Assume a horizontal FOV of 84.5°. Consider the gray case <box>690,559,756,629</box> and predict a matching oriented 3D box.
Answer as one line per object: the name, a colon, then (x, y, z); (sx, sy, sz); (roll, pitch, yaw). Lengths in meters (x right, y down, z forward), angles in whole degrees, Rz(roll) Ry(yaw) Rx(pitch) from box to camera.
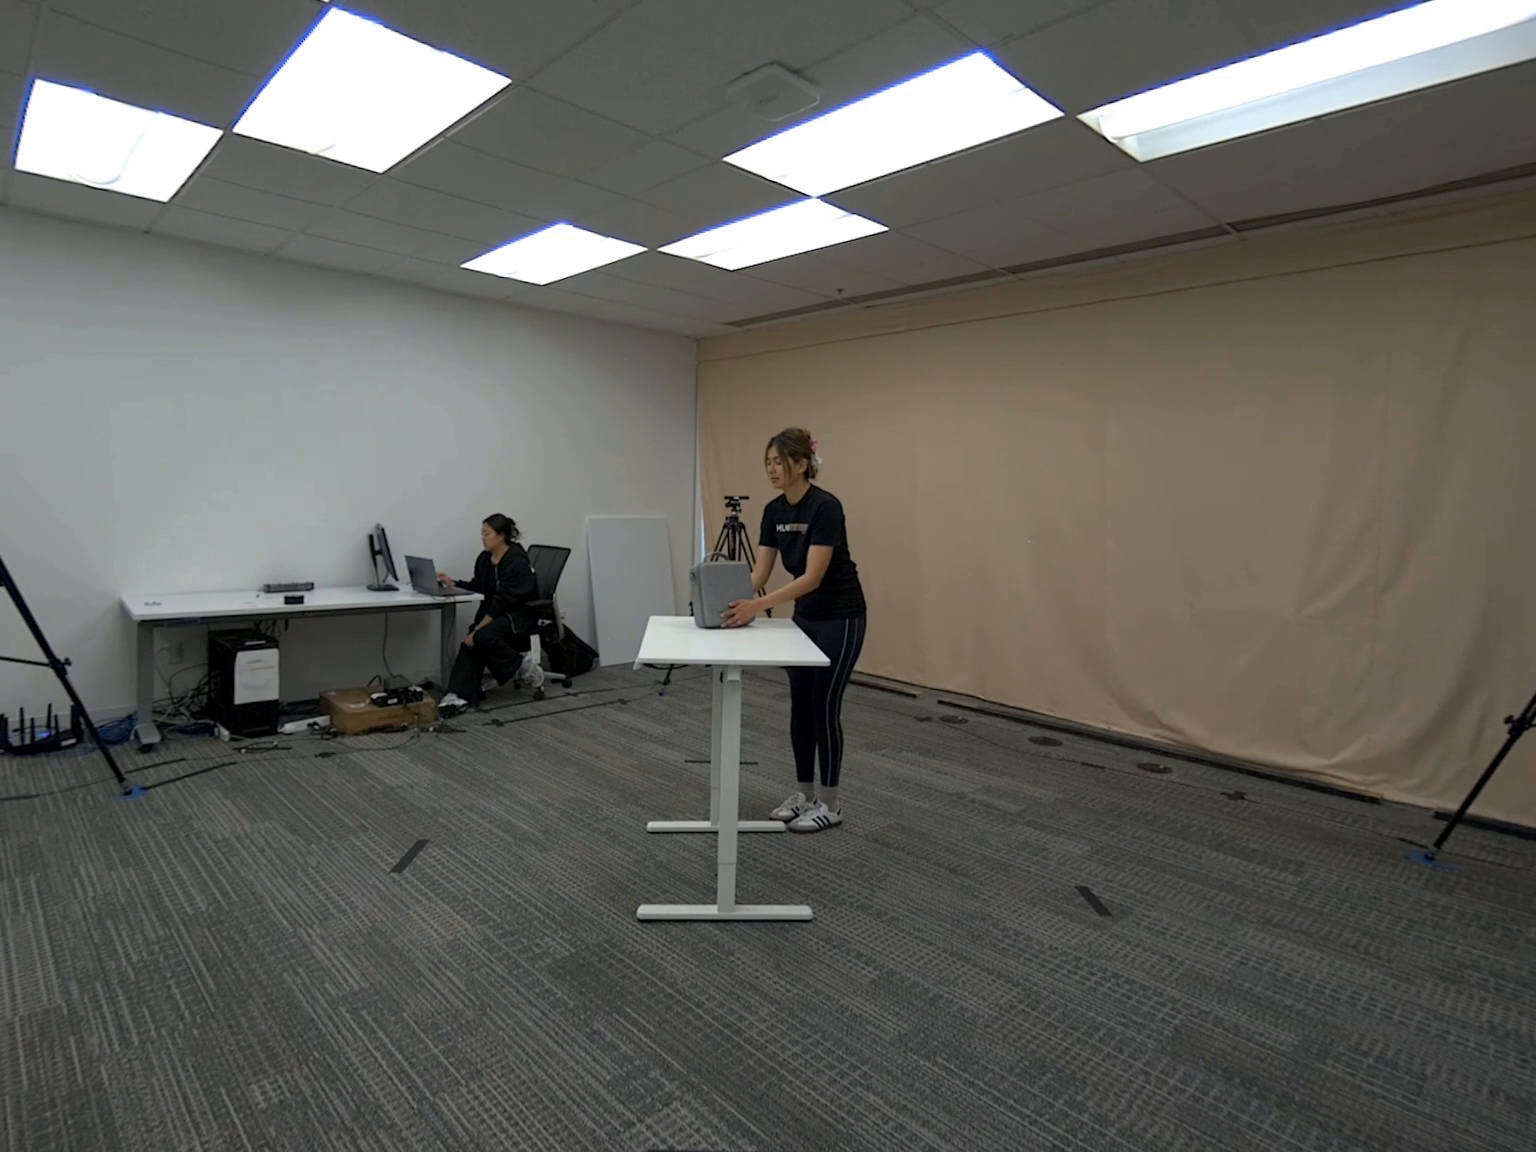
gray case: (-0.197, 0.069, 3.345); (0.251, 0.262, 0.106); (0, -9, -41)
